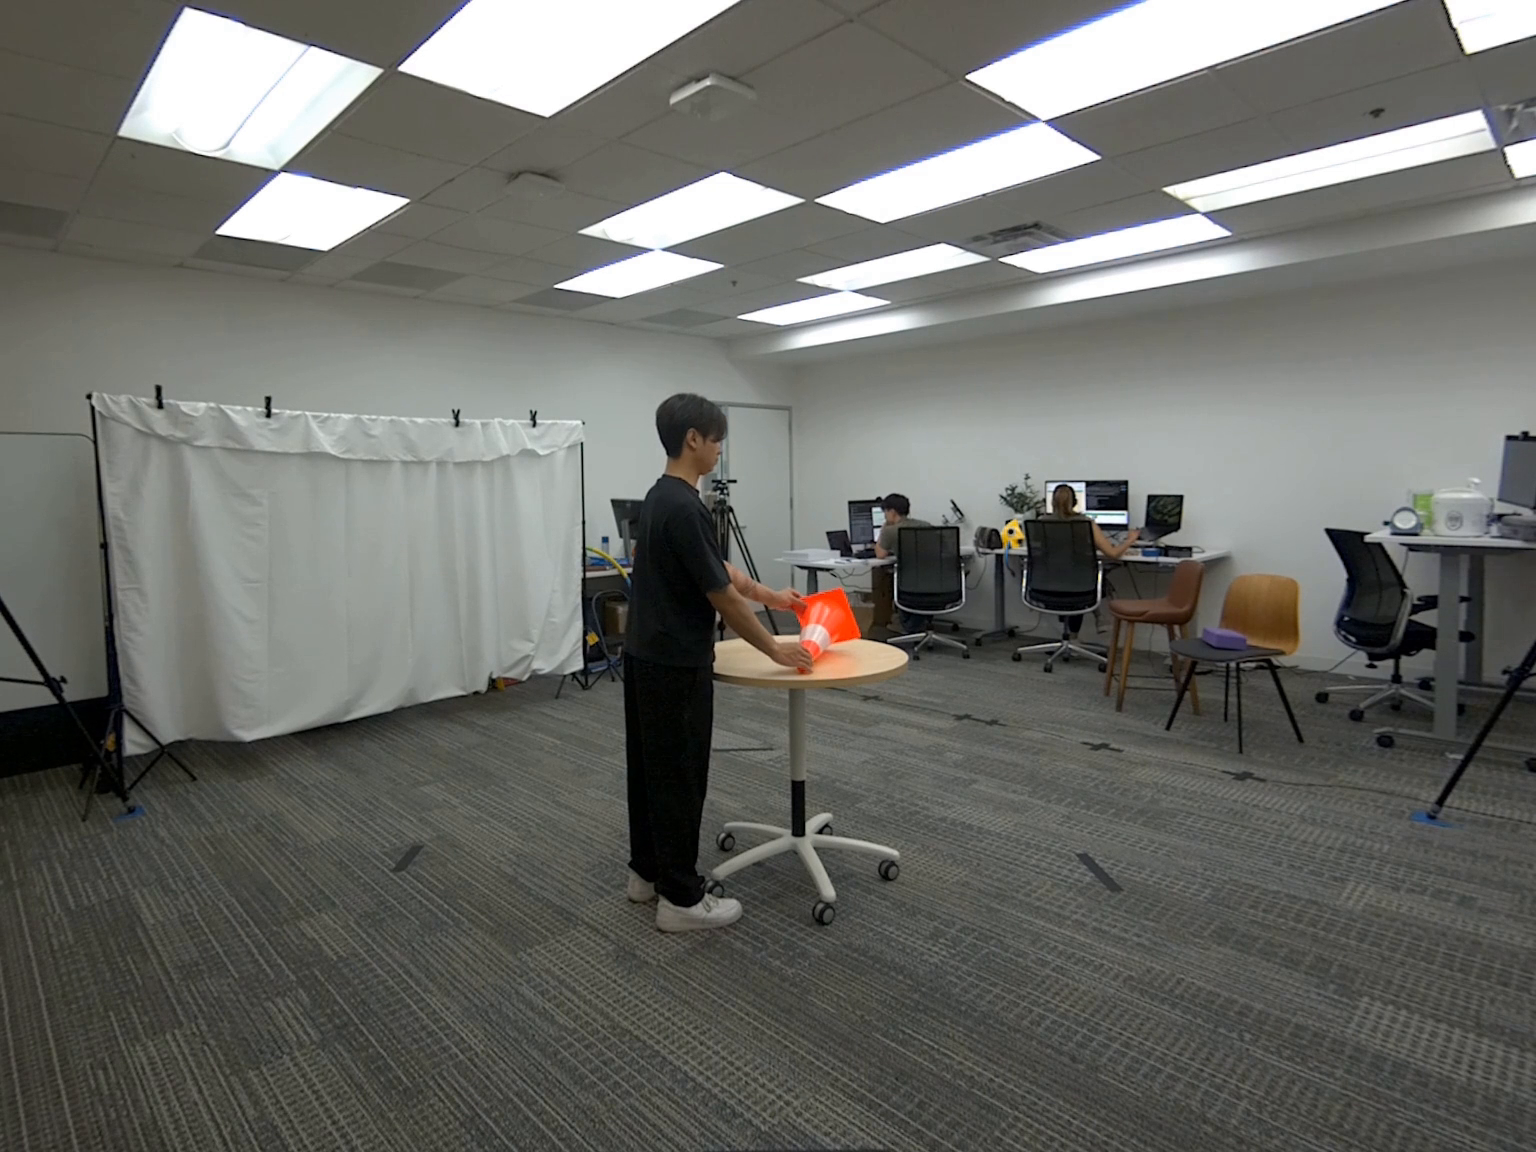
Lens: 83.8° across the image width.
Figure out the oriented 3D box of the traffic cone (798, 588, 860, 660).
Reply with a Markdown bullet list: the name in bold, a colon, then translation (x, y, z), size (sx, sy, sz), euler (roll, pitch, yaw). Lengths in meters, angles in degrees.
- **traffic cone**: translation (0.165, 0.225, 2.871), size (0.208, 0.200, 0.384), euler (-16, 16, 22)
